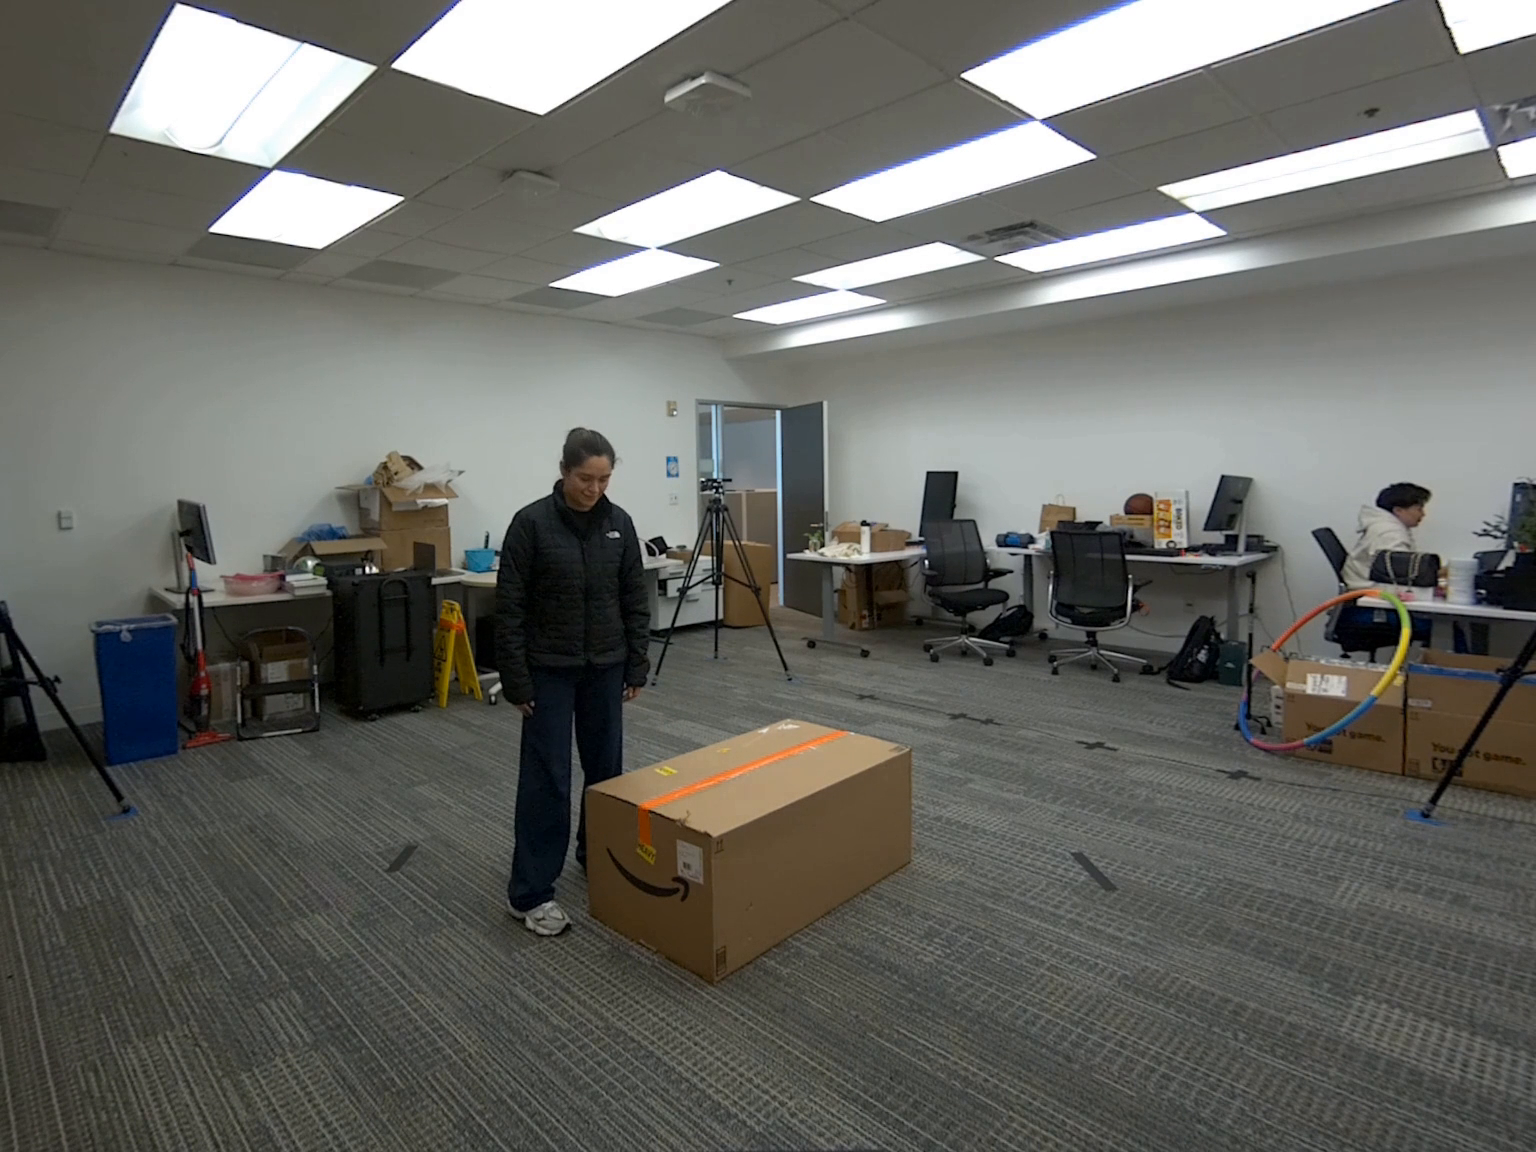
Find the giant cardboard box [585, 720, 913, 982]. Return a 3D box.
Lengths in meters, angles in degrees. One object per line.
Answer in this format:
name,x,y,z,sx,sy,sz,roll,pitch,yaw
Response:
giant cardboard box,-0.031,0.853,2.920,0.595,0.424,0.999,3,7,42
